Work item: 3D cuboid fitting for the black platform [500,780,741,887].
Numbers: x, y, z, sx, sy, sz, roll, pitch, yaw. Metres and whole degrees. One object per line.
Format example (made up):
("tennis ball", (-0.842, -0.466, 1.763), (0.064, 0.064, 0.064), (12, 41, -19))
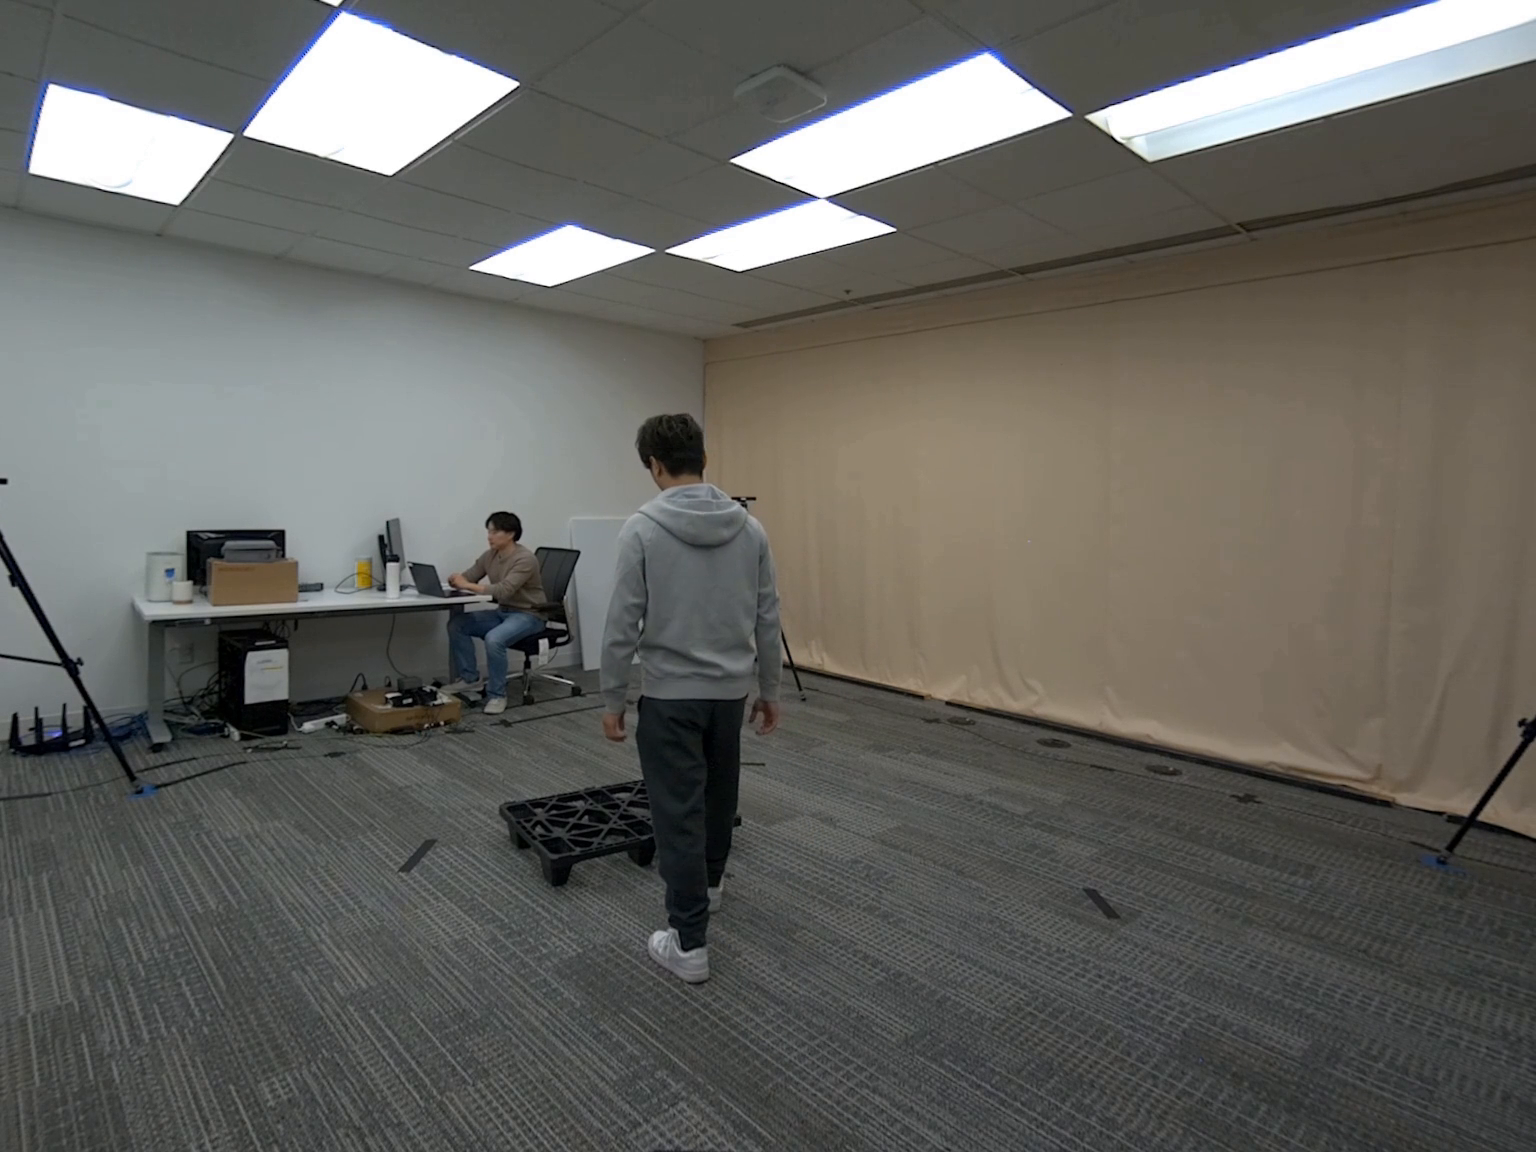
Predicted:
("black platform", (-0.598, 1.008, 3.373), (0.788, 0.143, 0.620), (-2, 7, -34))
